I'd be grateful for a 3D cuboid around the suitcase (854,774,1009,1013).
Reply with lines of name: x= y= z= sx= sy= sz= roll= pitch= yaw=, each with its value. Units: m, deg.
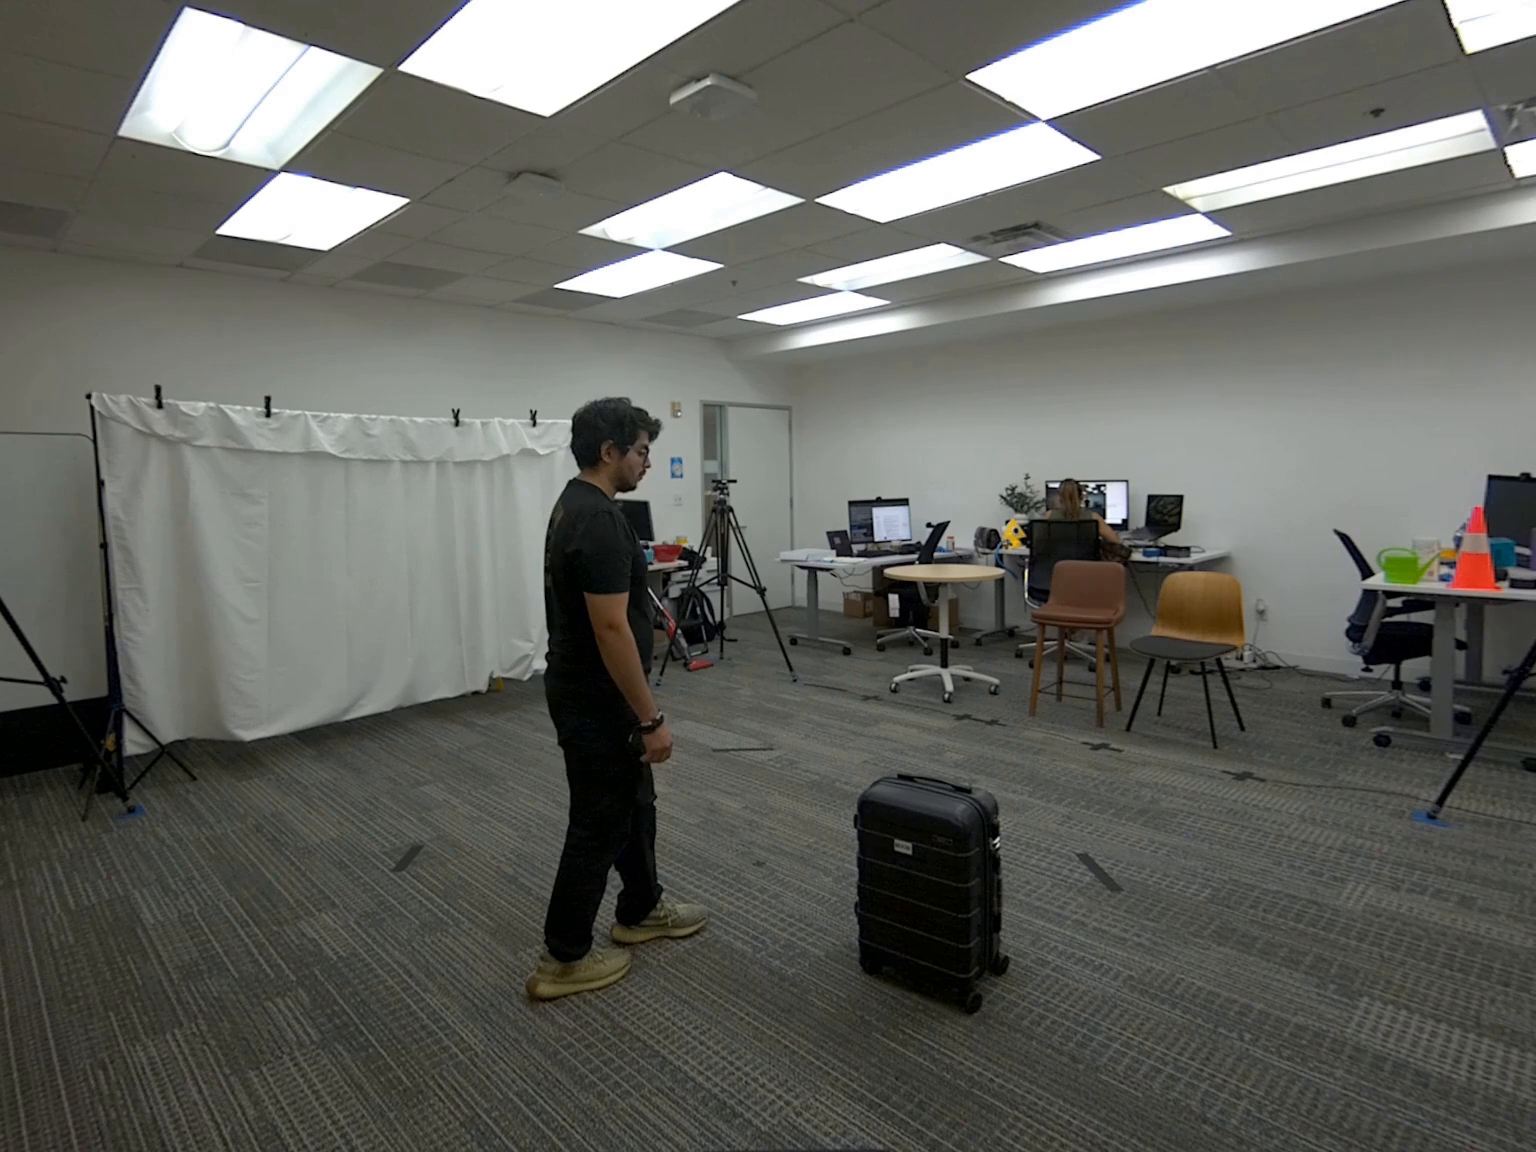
suitcase: x=0.454 y=0.849 z=2.387 sx=0.386 sy=0.547 sz=0.243 roll=0 pitch=6 yaw=35
